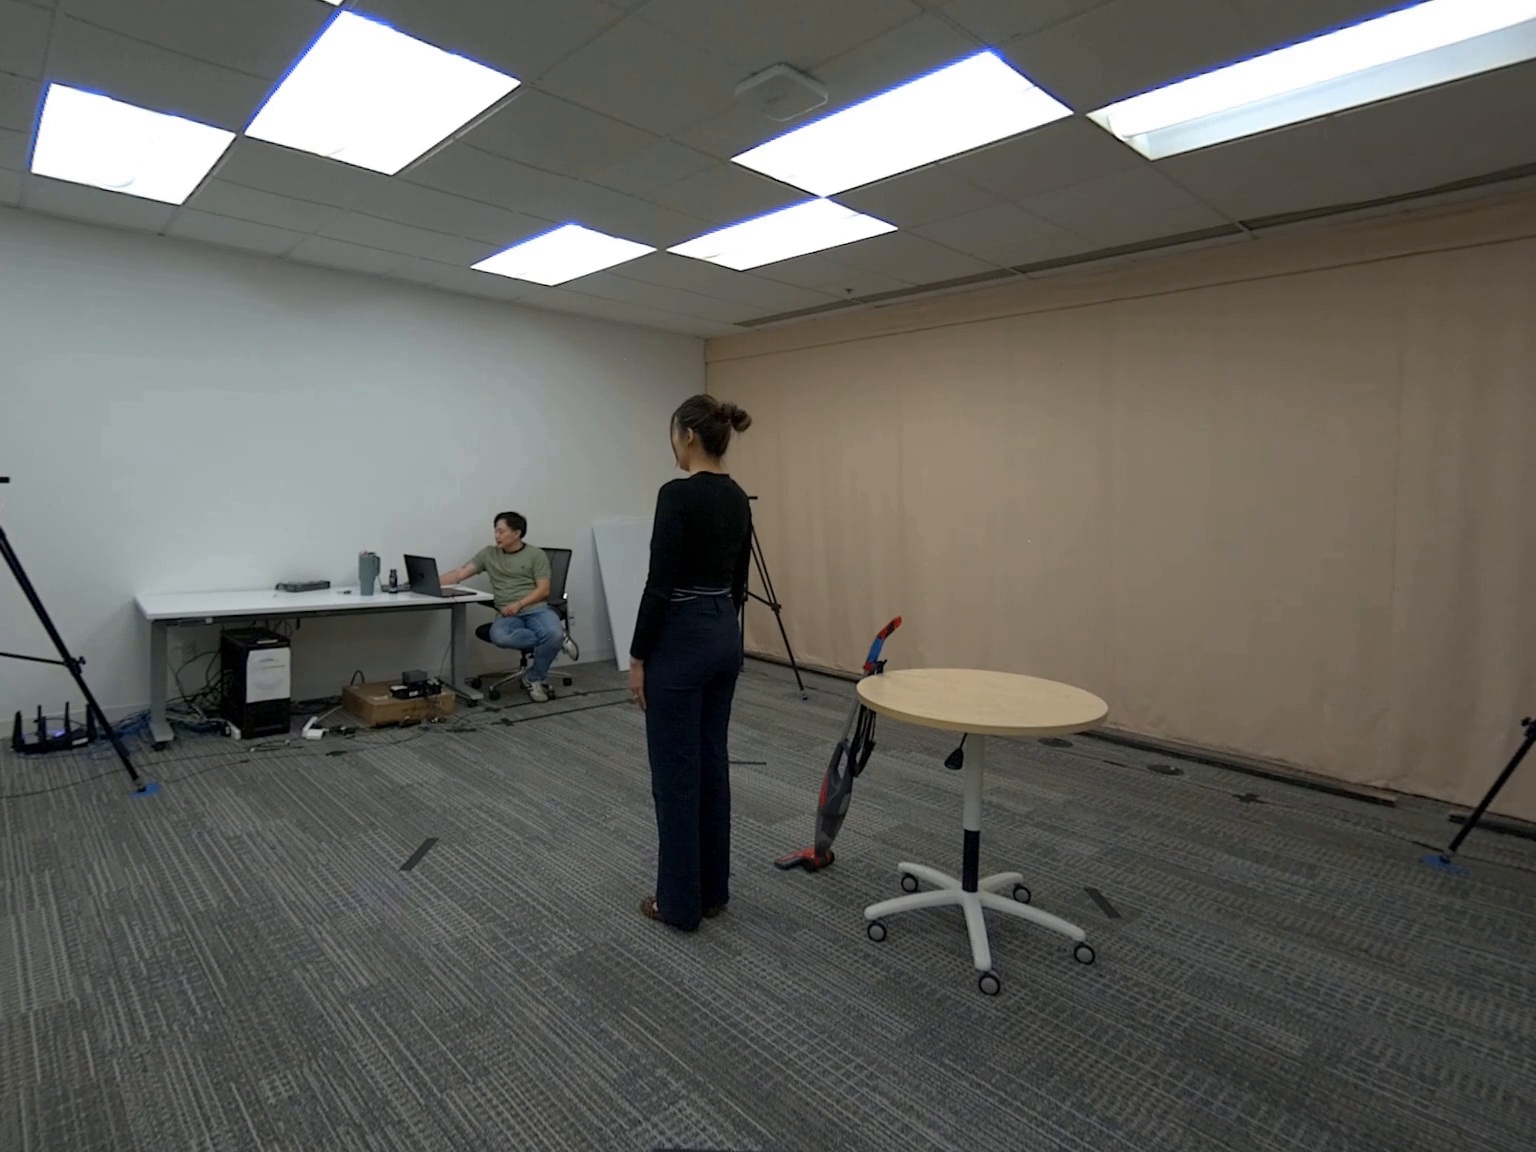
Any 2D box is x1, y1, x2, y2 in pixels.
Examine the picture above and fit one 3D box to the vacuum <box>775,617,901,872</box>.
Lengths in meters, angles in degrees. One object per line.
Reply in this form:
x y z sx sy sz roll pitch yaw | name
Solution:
0.299 0.625 3.059 0.247 1.041 0.148 -2 27 -46 | vacuum
